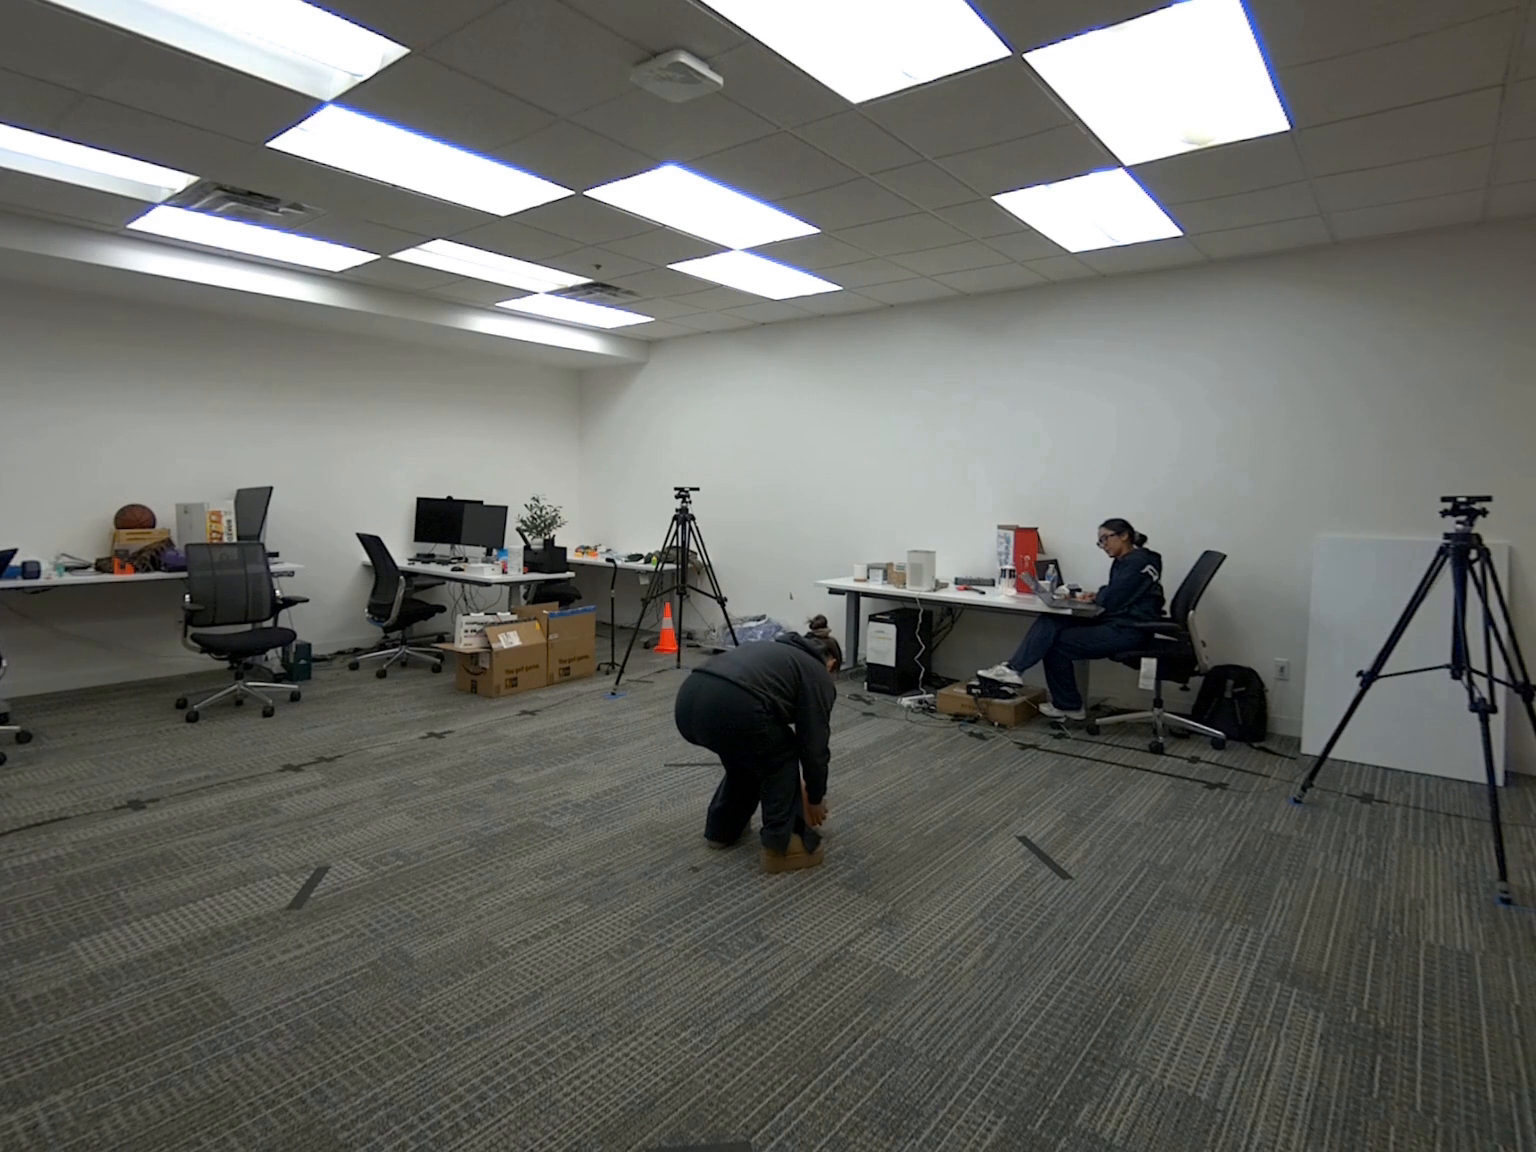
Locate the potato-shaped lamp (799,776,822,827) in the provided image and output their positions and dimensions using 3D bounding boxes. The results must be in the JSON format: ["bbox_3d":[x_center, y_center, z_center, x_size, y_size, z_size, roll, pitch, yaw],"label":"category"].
[{"bbox_3d":[0.154,0.903,3.462,0.170,0.197,0.166,8,5,39],"label":"potato-shaped lamp"}]
